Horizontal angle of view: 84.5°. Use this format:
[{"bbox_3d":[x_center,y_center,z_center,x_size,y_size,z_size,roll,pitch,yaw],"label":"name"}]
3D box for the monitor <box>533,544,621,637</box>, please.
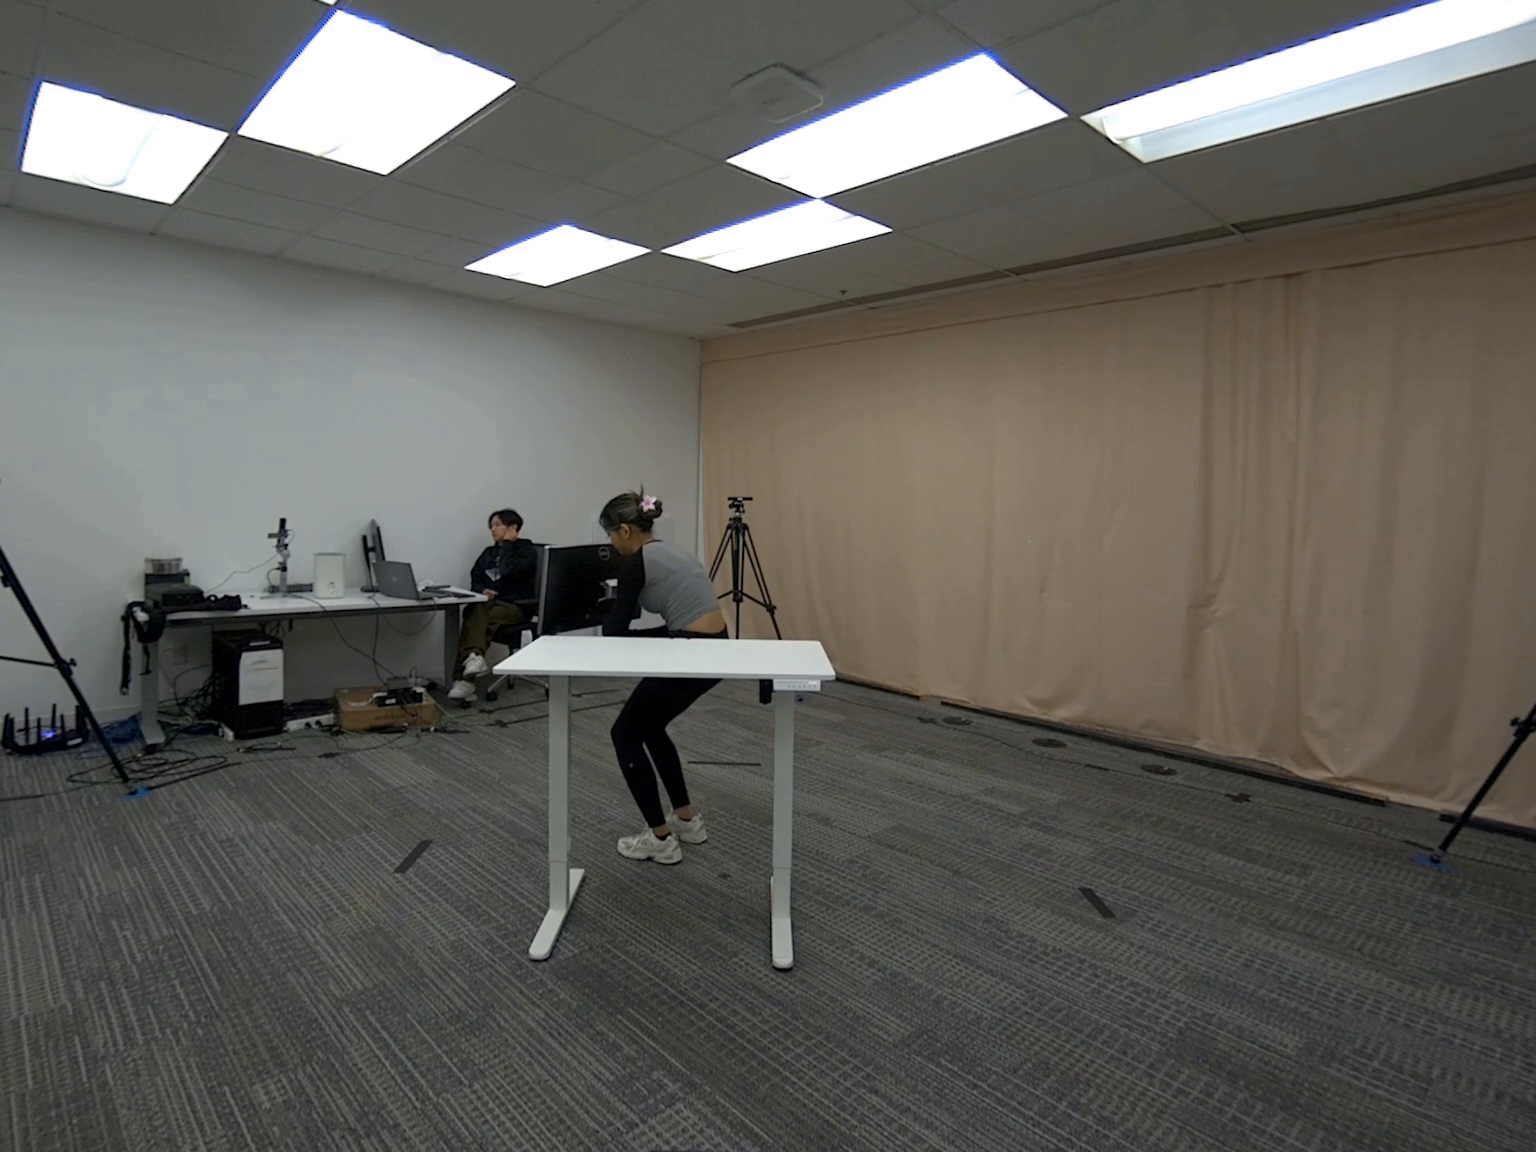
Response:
[{"bbox_3d":[-0.695,0.127,3.510,0.191,0.521,0.528,0,5,37],"label":"monitor"}]
